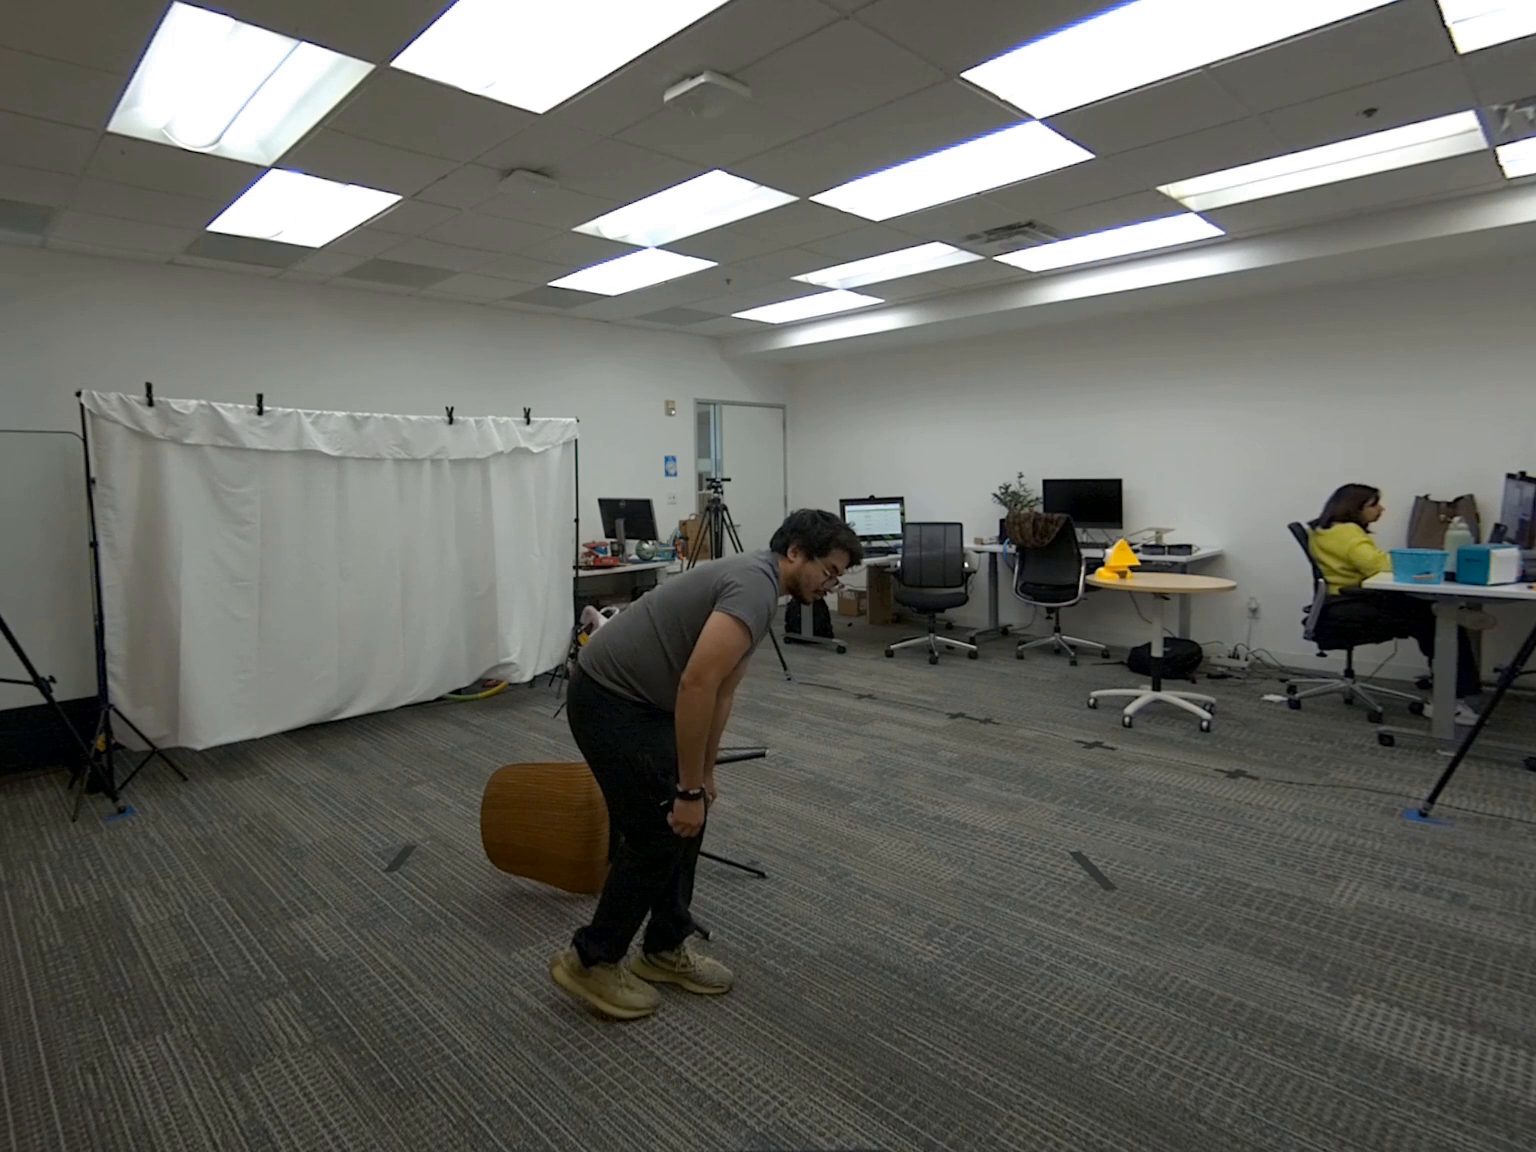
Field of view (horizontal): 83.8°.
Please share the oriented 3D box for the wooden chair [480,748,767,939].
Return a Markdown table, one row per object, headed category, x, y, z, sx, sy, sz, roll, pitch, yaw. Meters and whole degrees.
| category | x | y | z | sx | sy | sz | roll | pitch | yaw |
| --- | --- | --- | --- | --- | --- | --- | --- | --- | --- |
| wooden chair | -0.481 | 0.832 | 2.968 | 0.895 | 0.475 | 0.516 | 2 | 7 | 21 |
